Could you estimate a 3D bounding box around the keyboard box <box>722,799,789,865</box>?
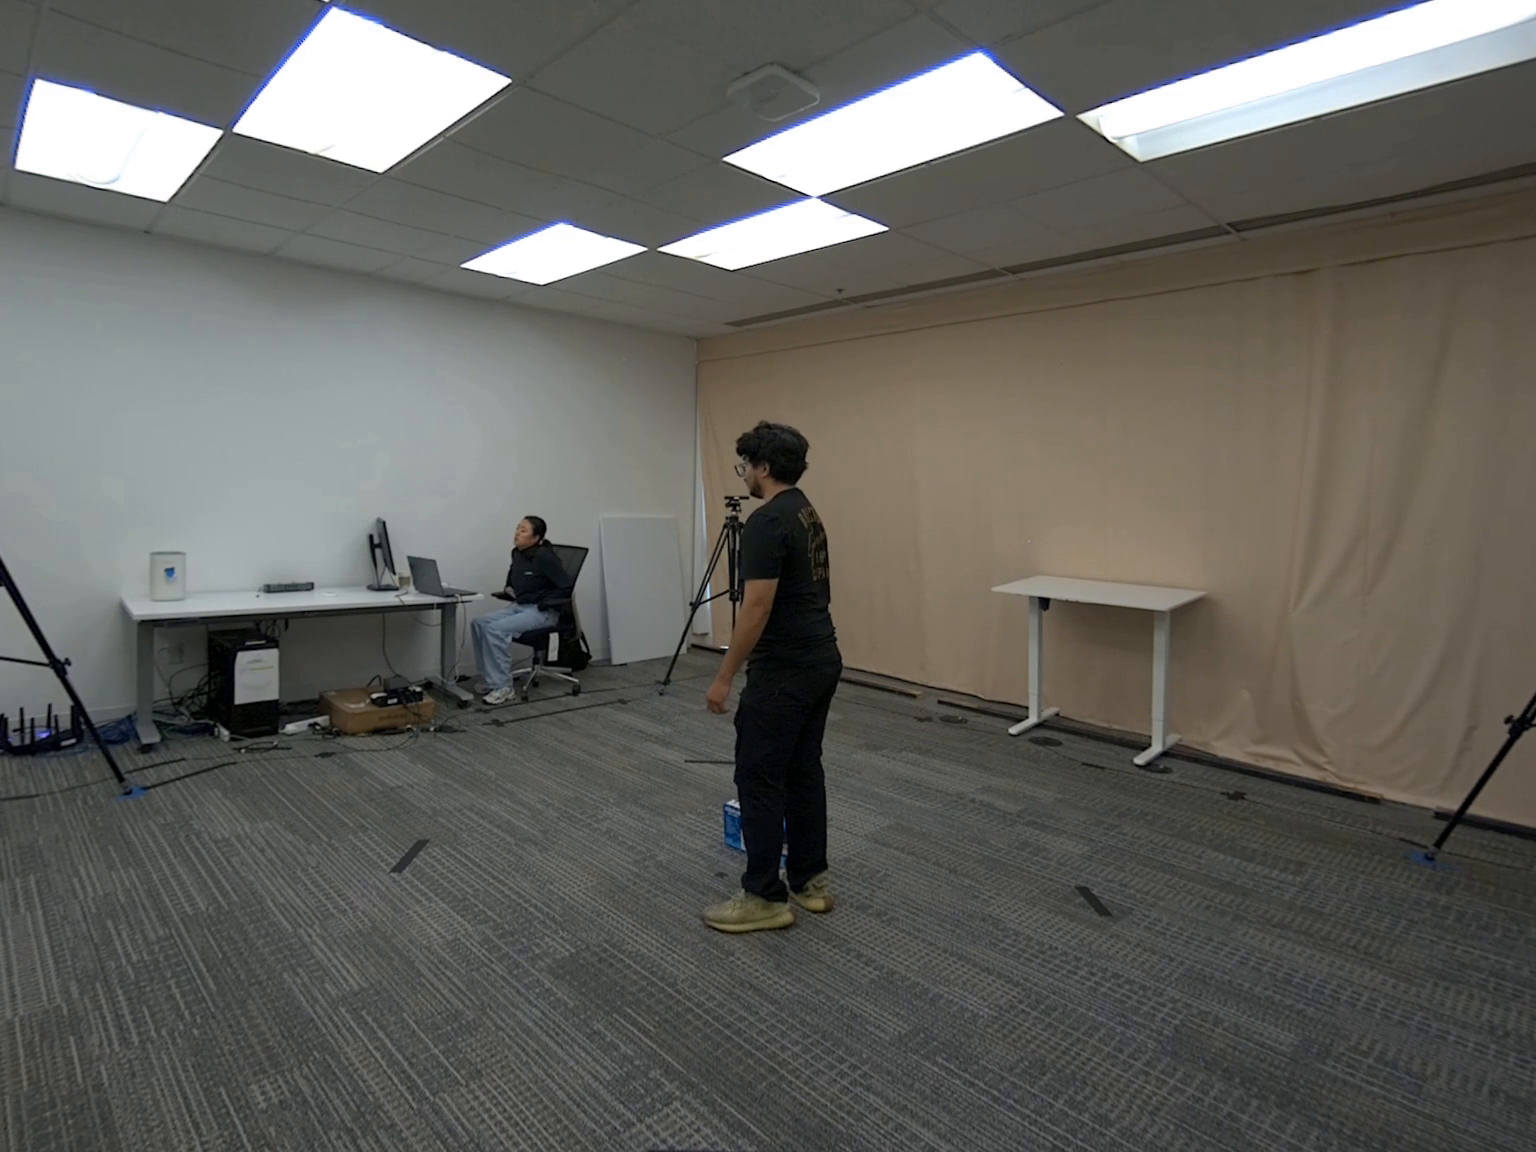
[{"bbox_3d":[0.000,1.012,3.241,0.448,0.175,0.058,6,10,43],"label":"keyboard box"}]
